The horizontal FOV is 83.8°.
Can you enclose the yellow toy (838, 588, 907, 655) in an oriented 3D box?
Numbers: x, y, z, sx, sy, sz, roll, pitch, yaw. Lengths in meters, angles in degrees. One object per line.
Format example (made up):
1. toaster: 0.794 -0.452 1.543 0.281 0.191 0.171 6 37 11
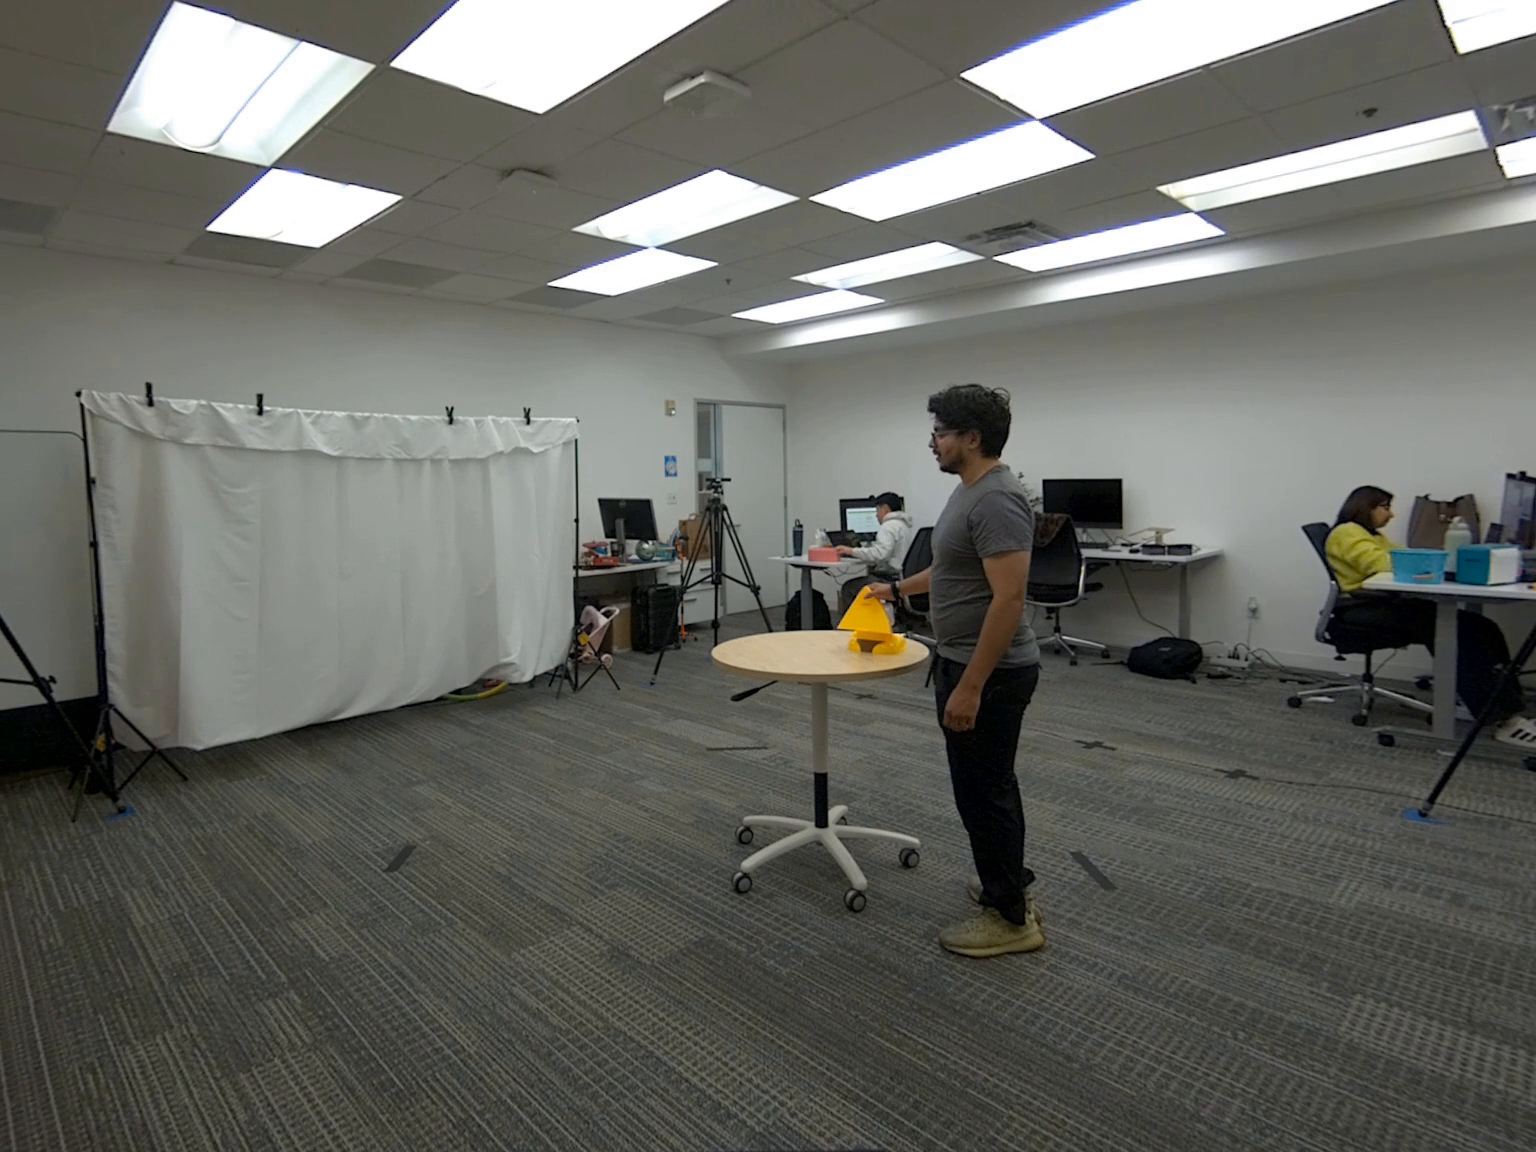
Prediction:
1. yellow toy: 0.382 0.145 3.023 0.211 0.230 0.188 3 5 37
